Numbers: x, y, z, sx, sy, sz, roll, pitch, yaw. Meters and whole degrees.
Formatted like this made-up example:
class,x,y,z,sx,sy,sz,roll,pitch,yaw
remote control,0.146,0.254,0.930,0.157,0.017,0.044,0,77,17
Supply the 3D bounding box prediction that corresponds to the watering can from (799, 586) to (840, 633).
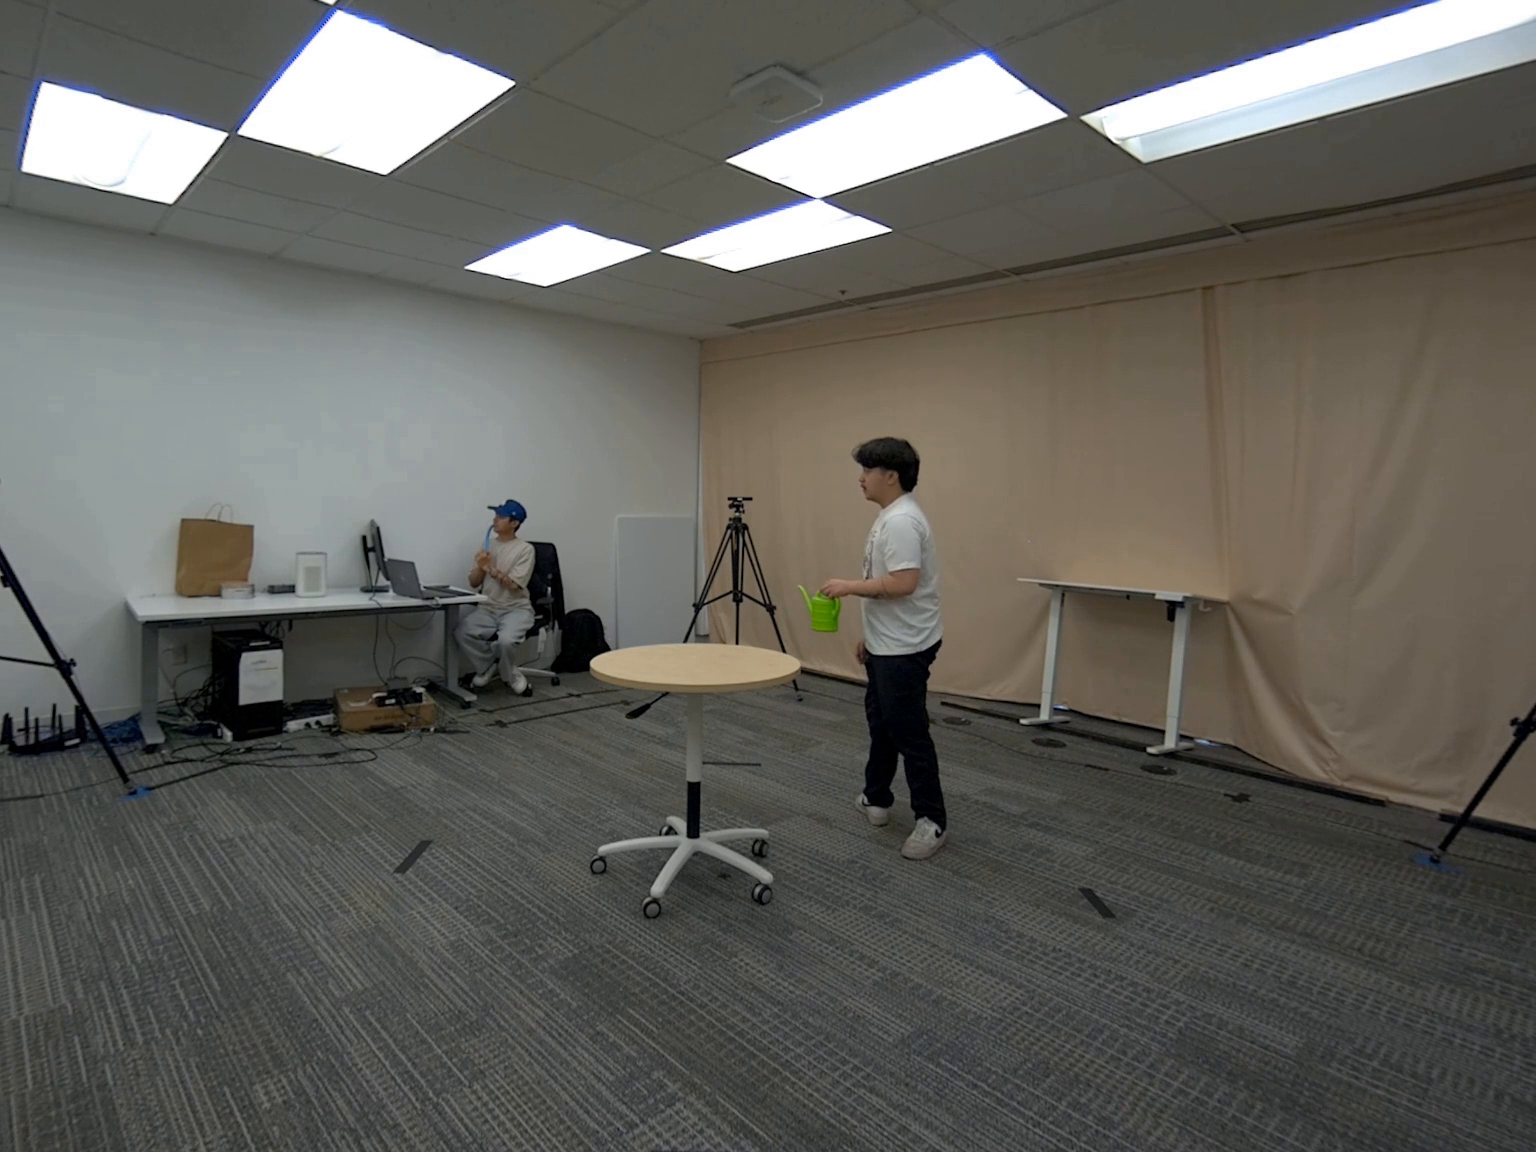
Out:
class,x,y,z,sx,sy,sz,roll,pitch,yaw
watering can,0.219,0.137,3.587,0.096,0.176,0.284,-1,5,-23
